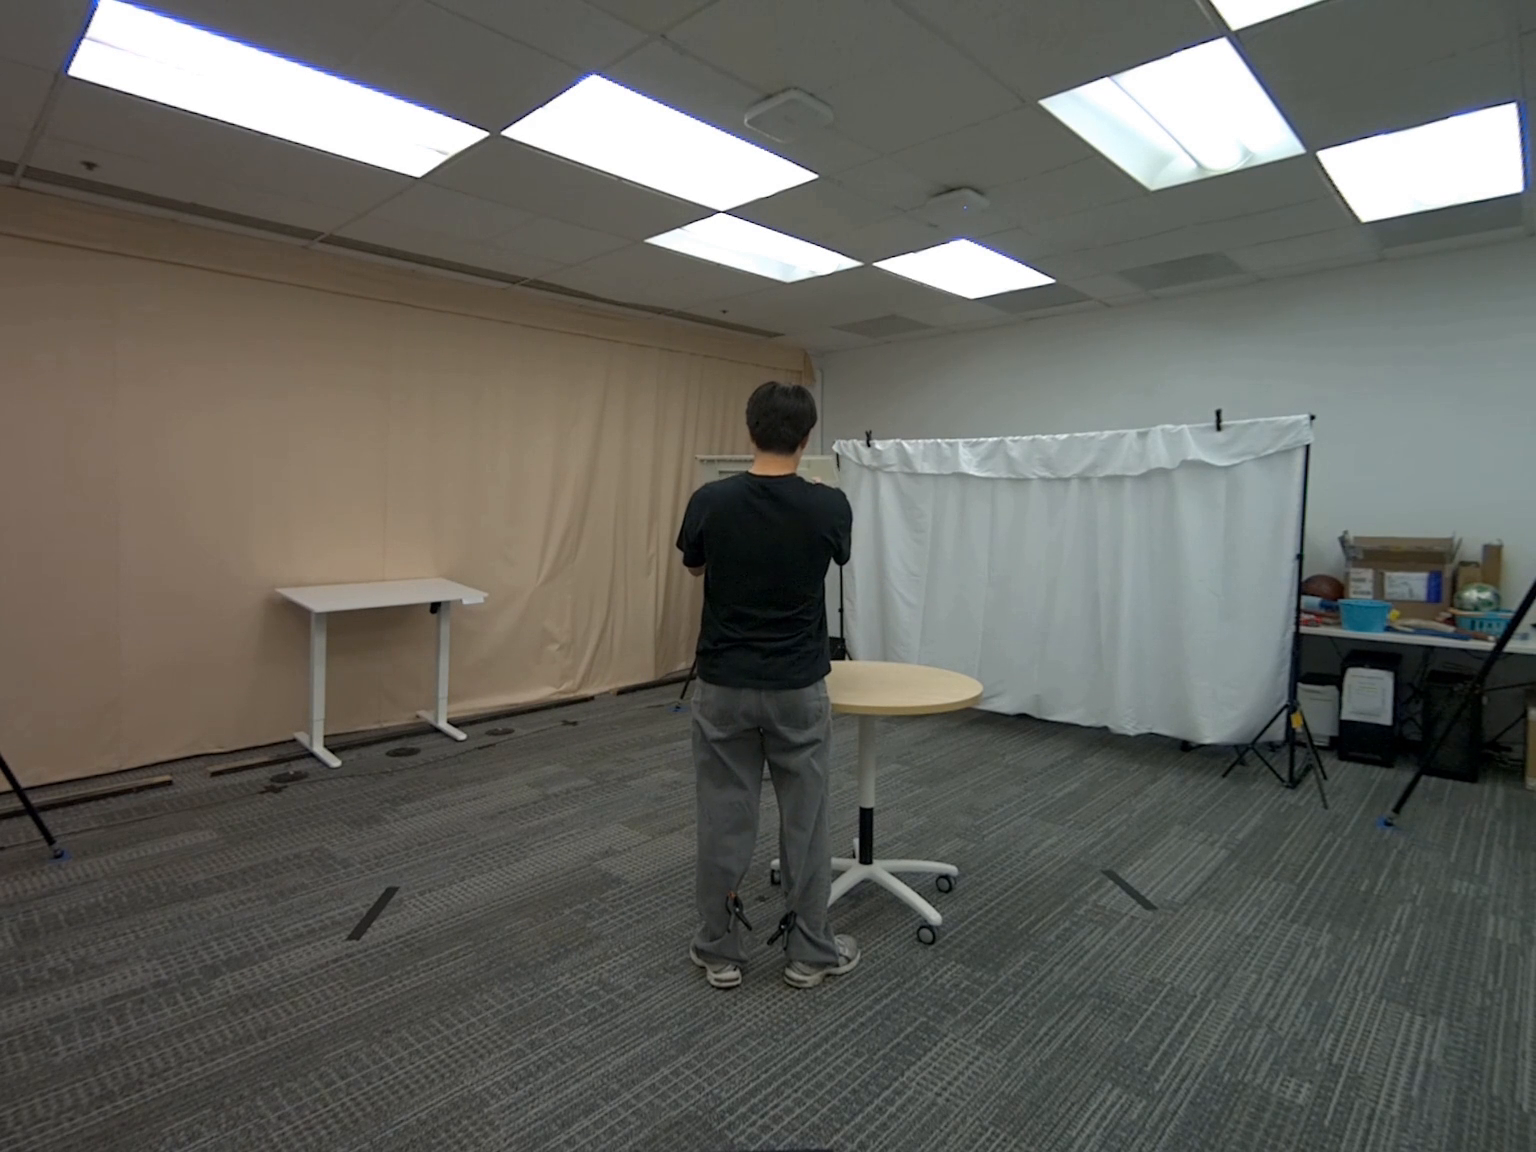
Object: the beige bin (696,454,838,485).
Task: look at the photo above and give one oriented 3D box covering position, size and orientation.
[{"bbox_3d":[0.020,-0.341,3.019,0.388,0.188,0.413,4,9,27],"label":"beige bin"}]
